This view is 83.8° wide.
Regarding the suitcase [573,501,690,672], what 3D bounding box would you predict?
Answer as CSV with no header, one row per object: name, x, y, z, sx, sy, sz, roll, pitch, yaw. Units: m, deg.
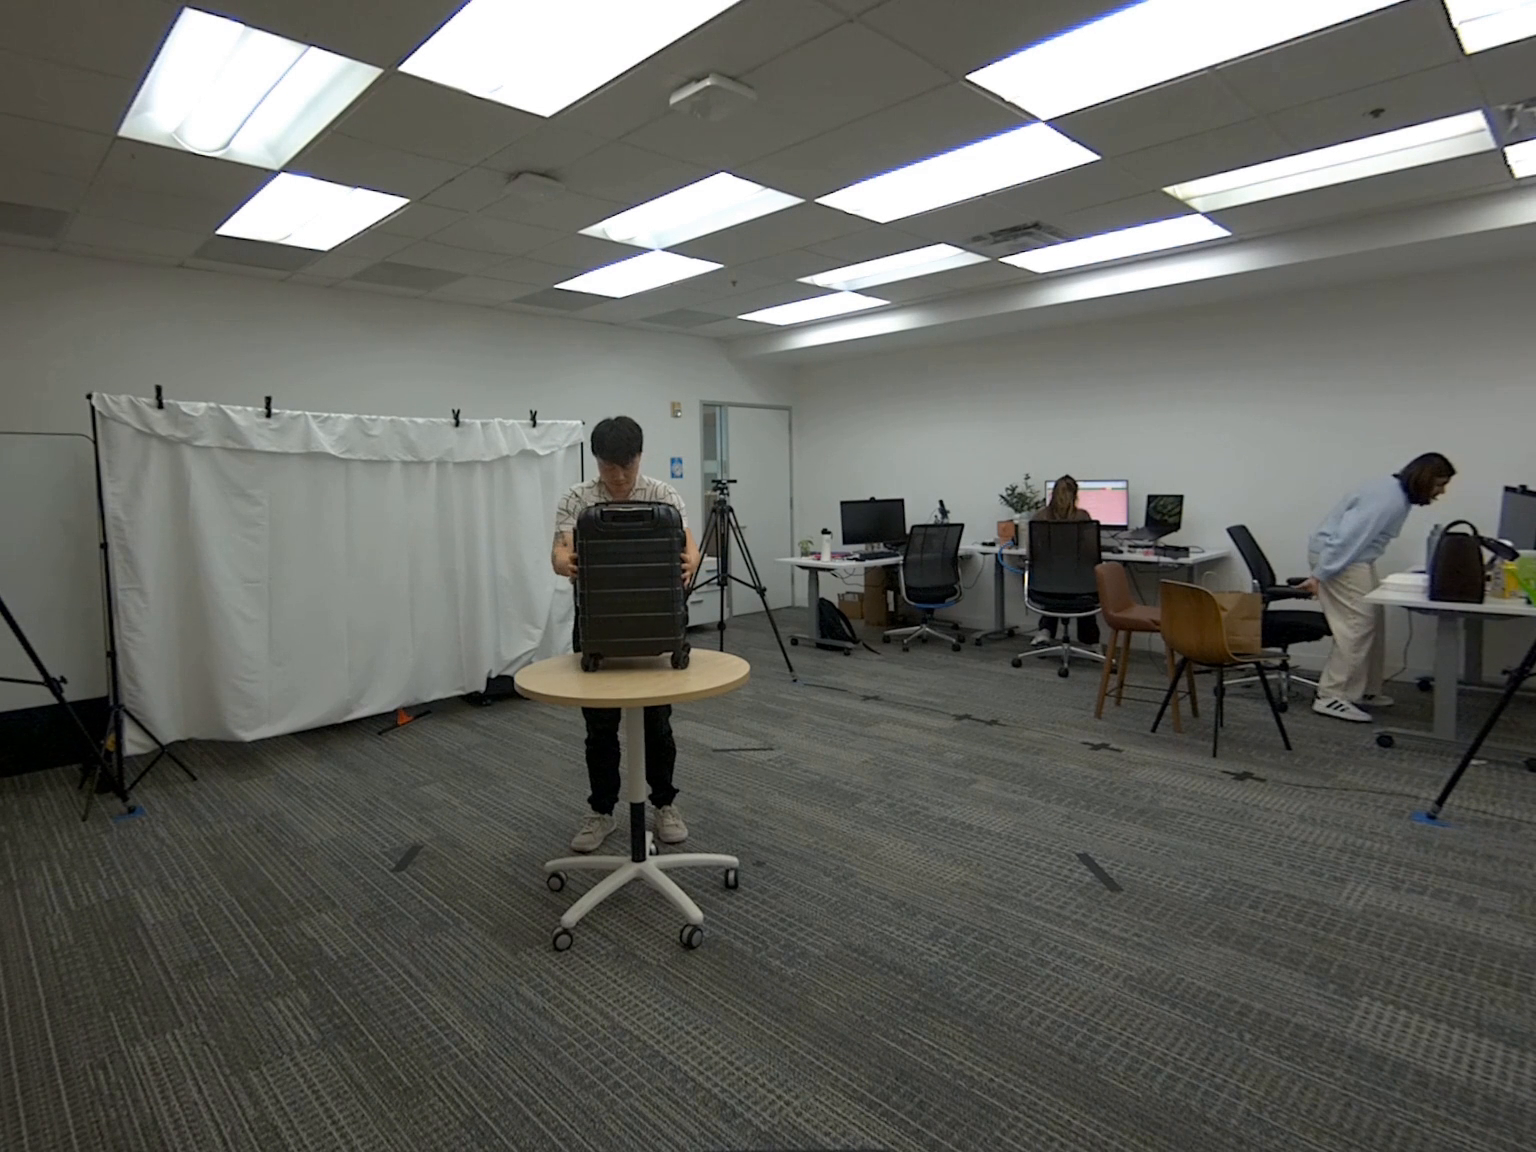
suitcase,-0.467,0.022,2.879,0.375,0.547,0.249,-3,4,-2
